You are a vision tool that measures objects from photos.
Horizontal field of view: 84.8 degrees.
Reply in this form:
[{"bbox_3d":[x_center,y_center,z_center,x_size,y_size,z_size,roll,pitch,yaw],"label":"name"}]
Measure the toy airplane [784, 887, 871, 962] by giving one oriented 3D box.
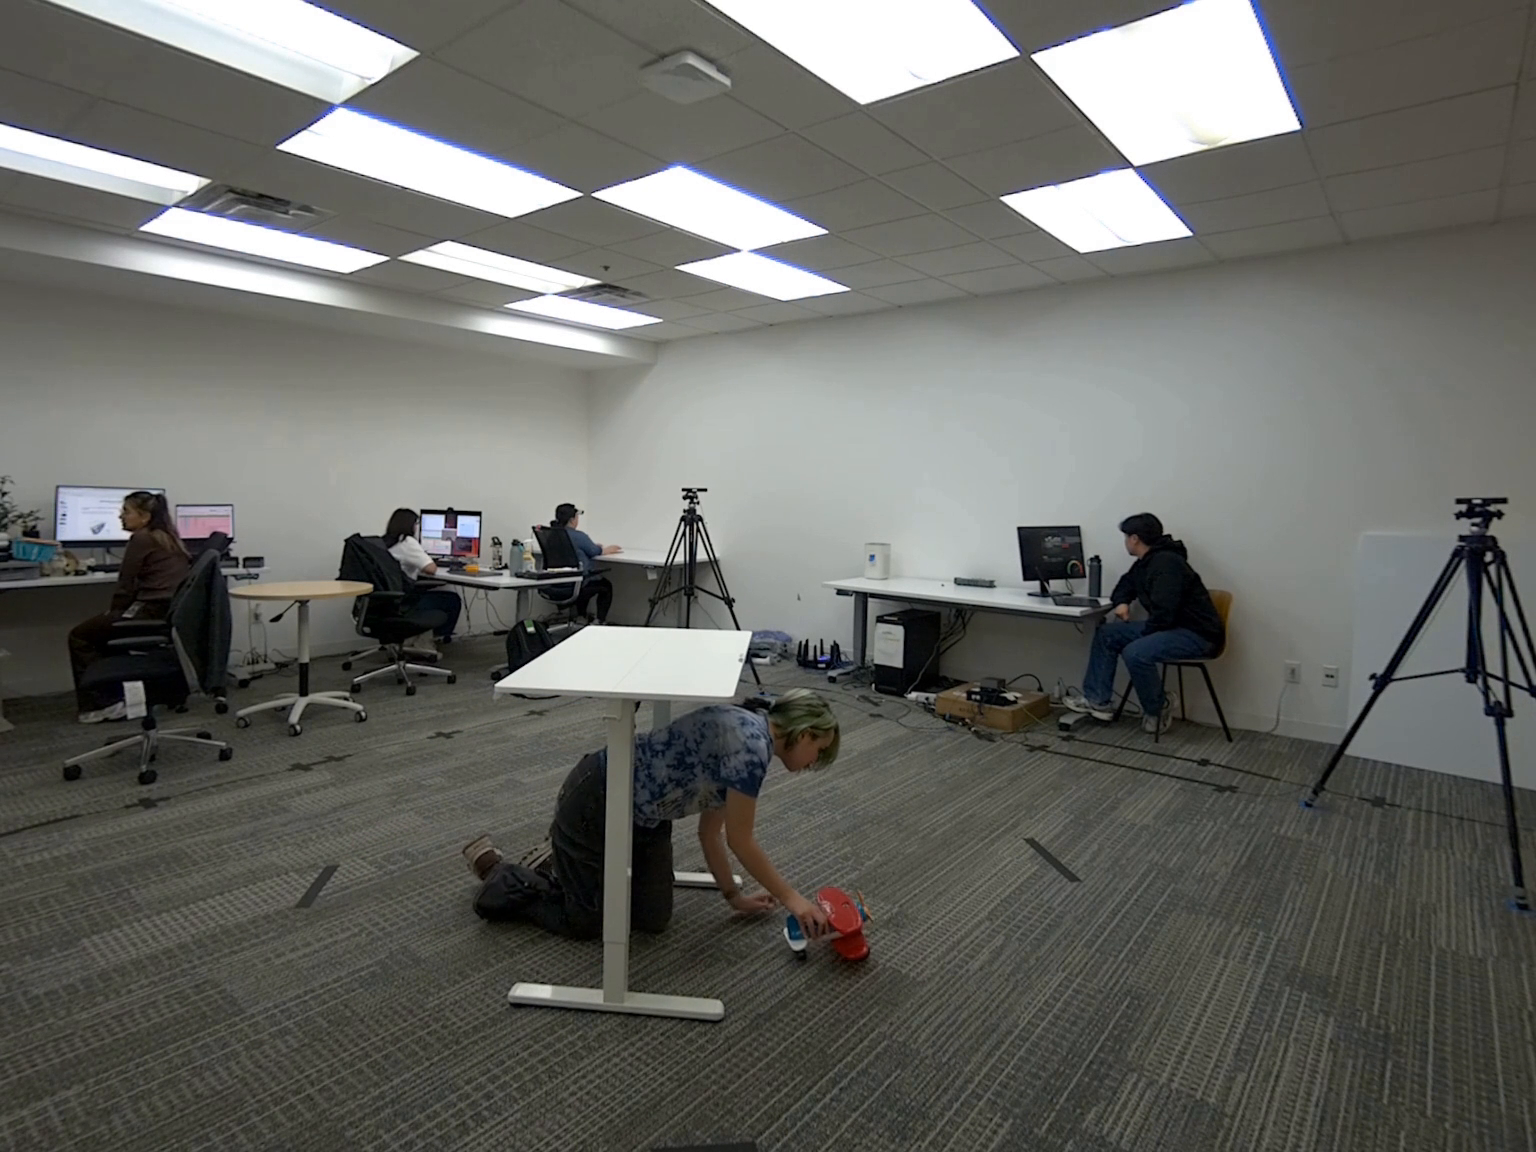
[{"bbox_3d":[0.183,1.064,2.533,0.251,0.156,0.260,-1,6,-40],"label":"toy airplane"}]
